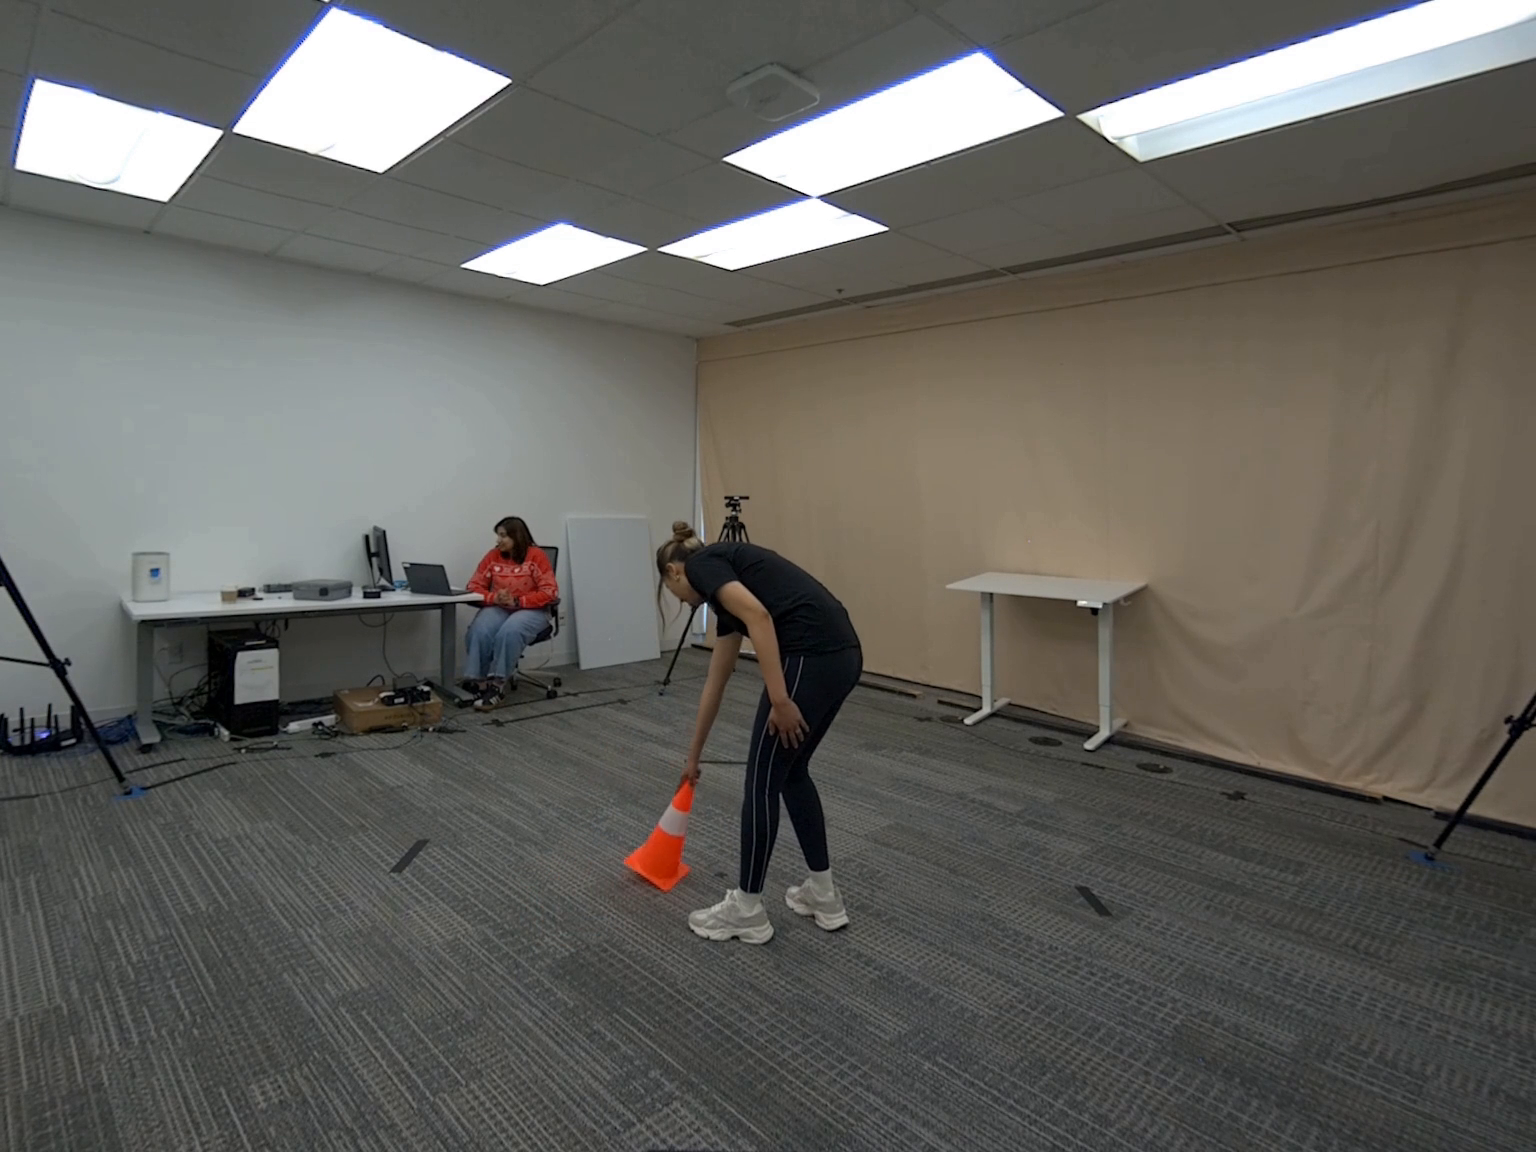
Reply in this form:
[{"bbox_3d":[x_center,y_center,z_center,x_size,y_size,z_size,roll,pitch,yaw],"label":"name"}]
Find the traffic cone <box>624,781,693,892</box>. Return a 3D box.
[{"bbox_3d":[-0.338,0.899,3.034,0.209,0.381,0.200,27,16,20],"label":"traffic cone"}]
